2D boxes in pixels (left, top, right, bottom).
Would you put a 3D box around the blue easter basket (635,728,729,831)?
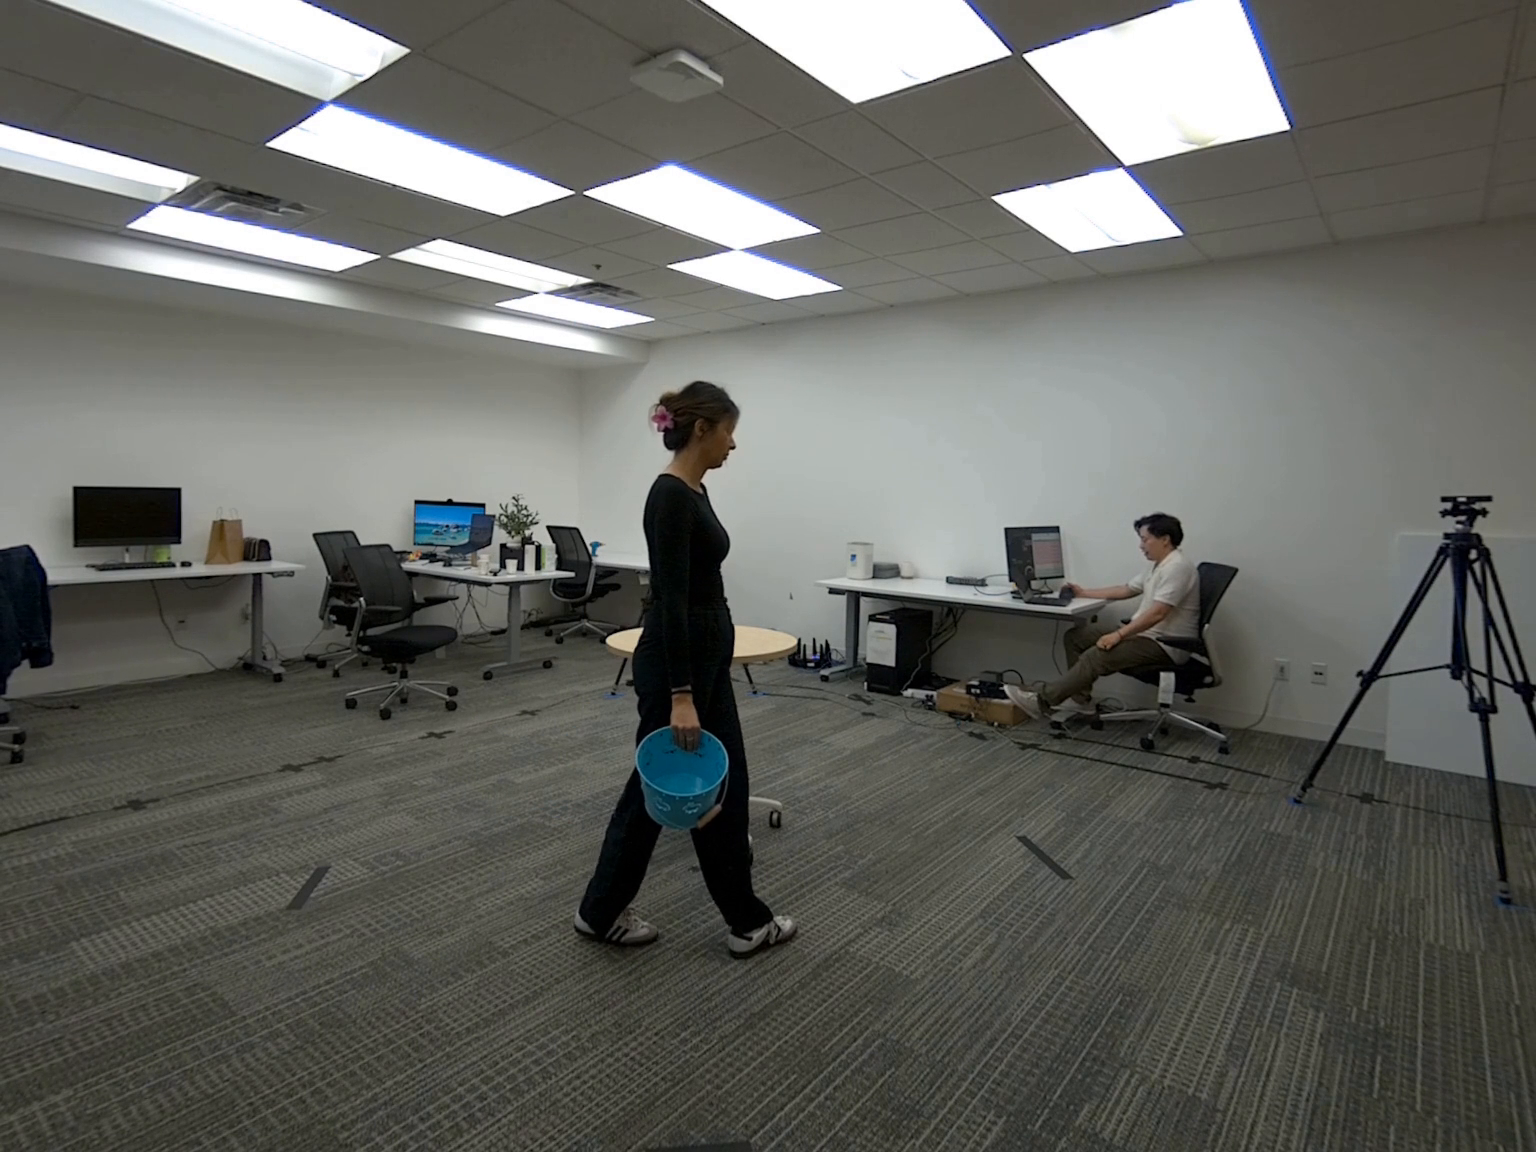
[{"bbox_3d":[-0.225,0.515,2.155,0.243,0.152,0.250,1,34,-2],"label":"blue easter basket"}]
